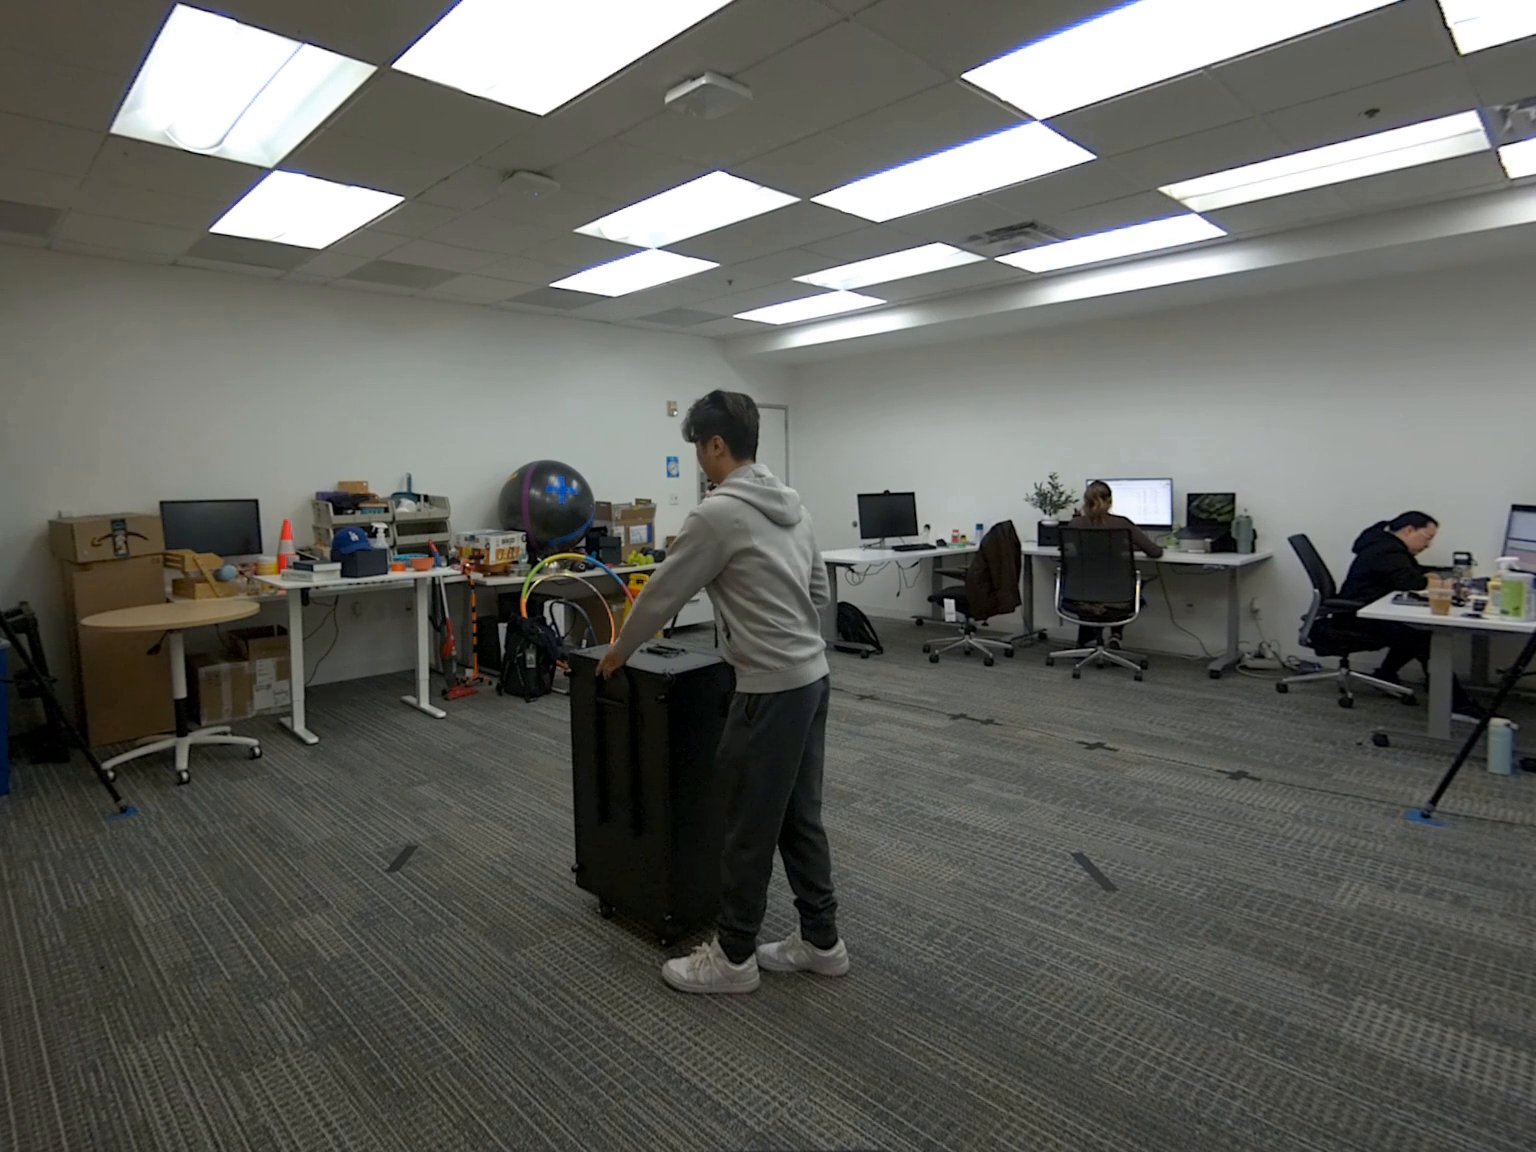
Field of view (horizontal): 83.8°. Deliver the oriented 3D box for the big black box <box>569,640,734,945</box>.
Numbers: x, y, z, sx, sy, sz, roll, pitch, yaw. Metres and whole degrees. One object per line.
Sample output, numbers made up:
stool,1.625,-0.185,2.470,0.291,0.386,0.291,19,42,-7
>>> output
big black box,-0.346,0.672,2.737,0.537,0.857,0.386,4,7,42
